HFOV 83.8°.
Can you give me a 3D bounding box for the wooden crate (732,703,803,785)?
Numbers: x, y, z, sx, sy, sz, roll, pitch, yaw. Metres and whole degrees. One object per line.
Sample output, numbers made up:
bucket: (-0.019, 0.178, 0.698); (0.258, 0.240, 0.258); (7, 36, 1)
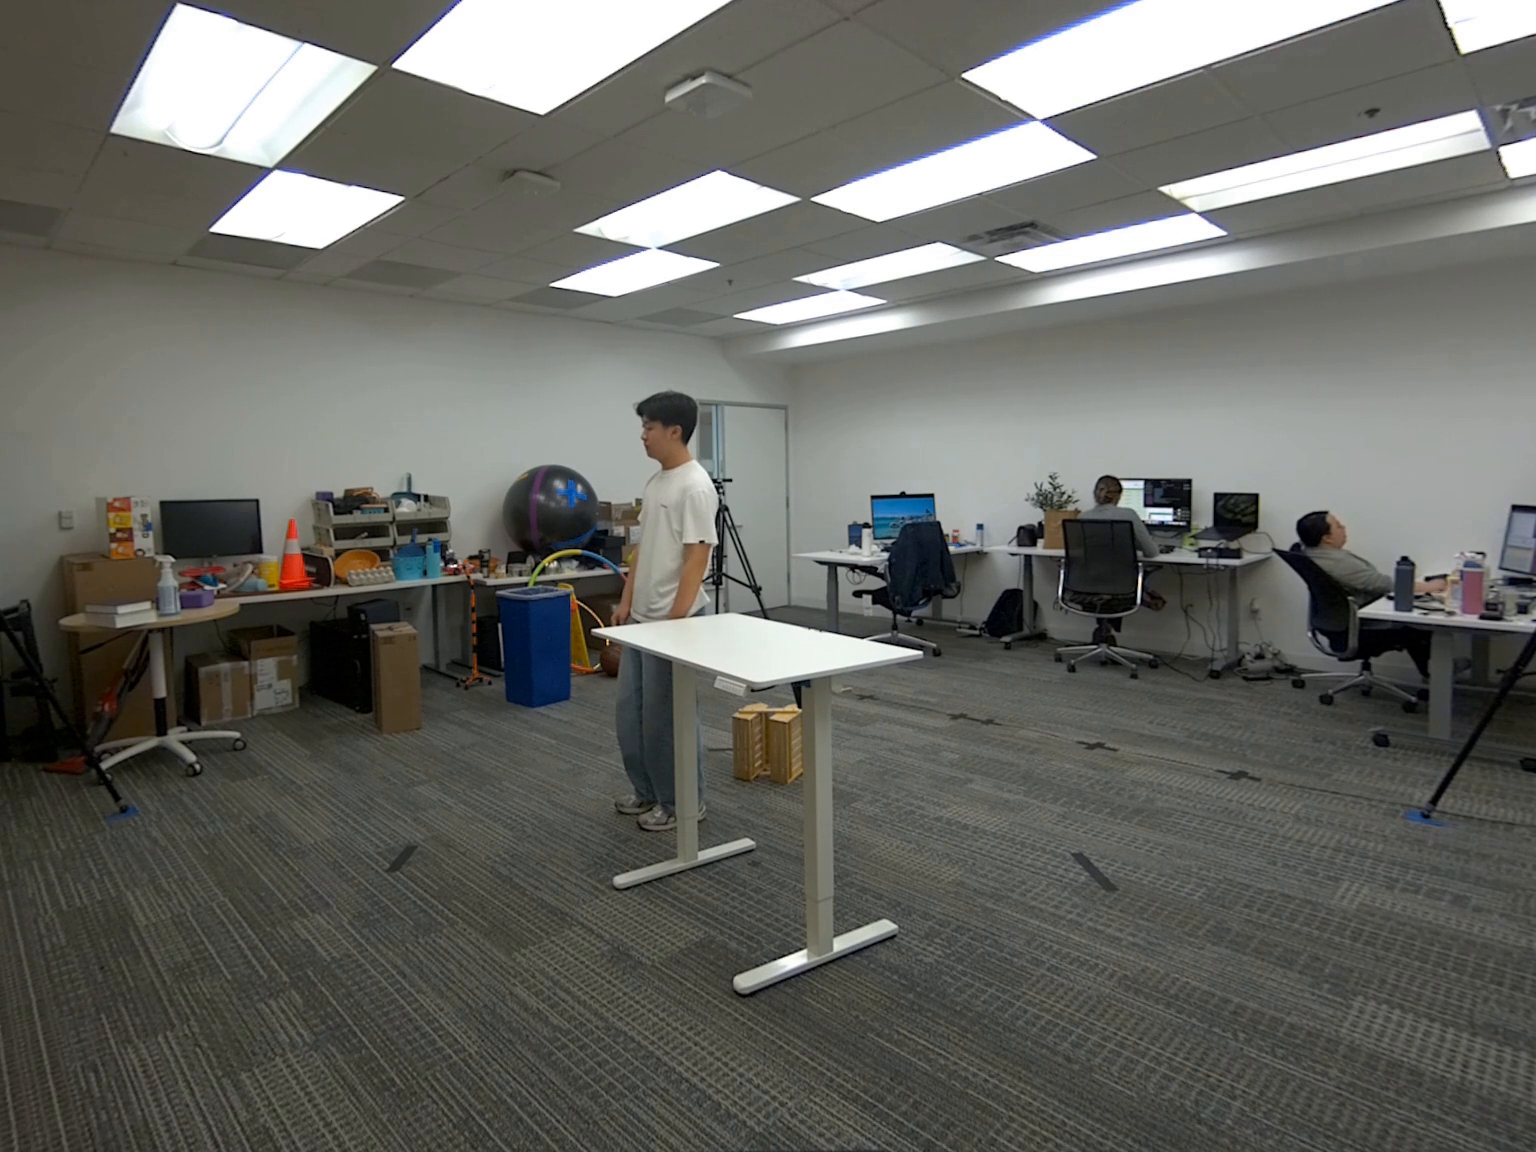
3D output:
wooden crate: (0.013, 0.776, 4.034); (0.280, 0.322, 0.297); (5, 11, 28)
